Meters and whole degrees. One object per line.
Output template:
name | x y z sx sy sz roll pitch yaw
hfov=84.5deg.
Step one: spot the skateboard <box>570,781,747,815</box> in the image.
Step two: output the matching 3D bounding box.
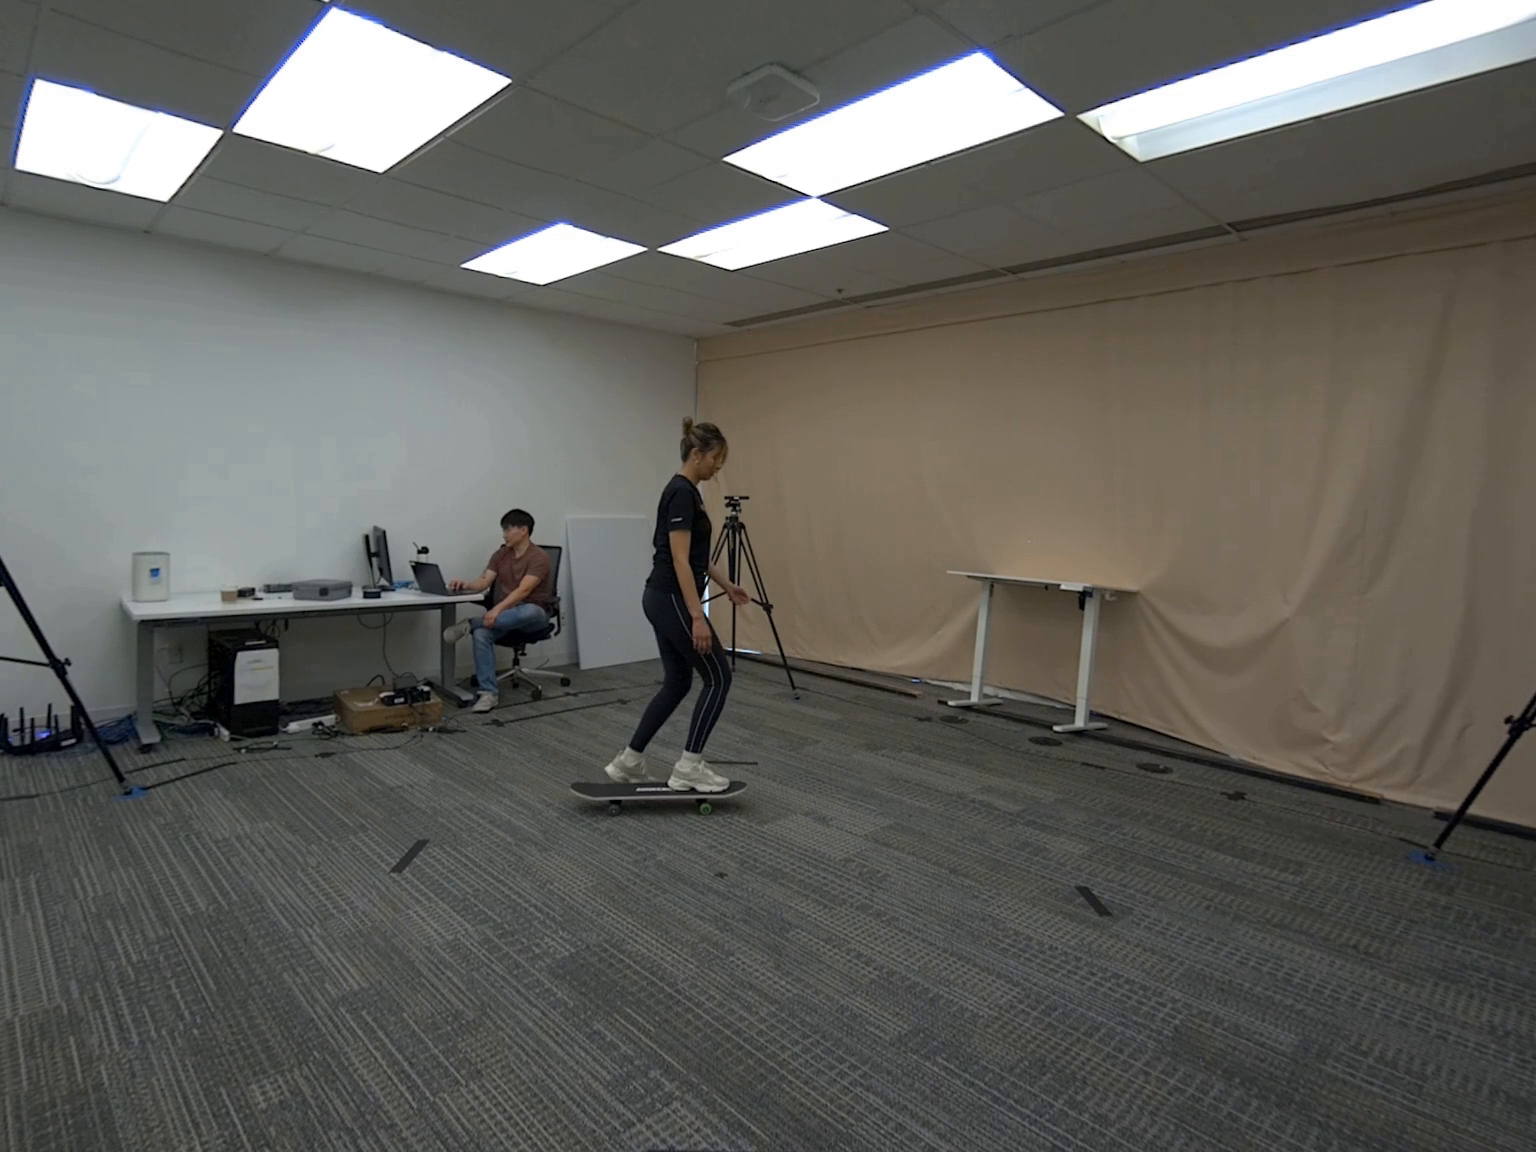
skateboard | -0.496 0.982 3.750 0.781 0.110 0.195 2 4 -7
